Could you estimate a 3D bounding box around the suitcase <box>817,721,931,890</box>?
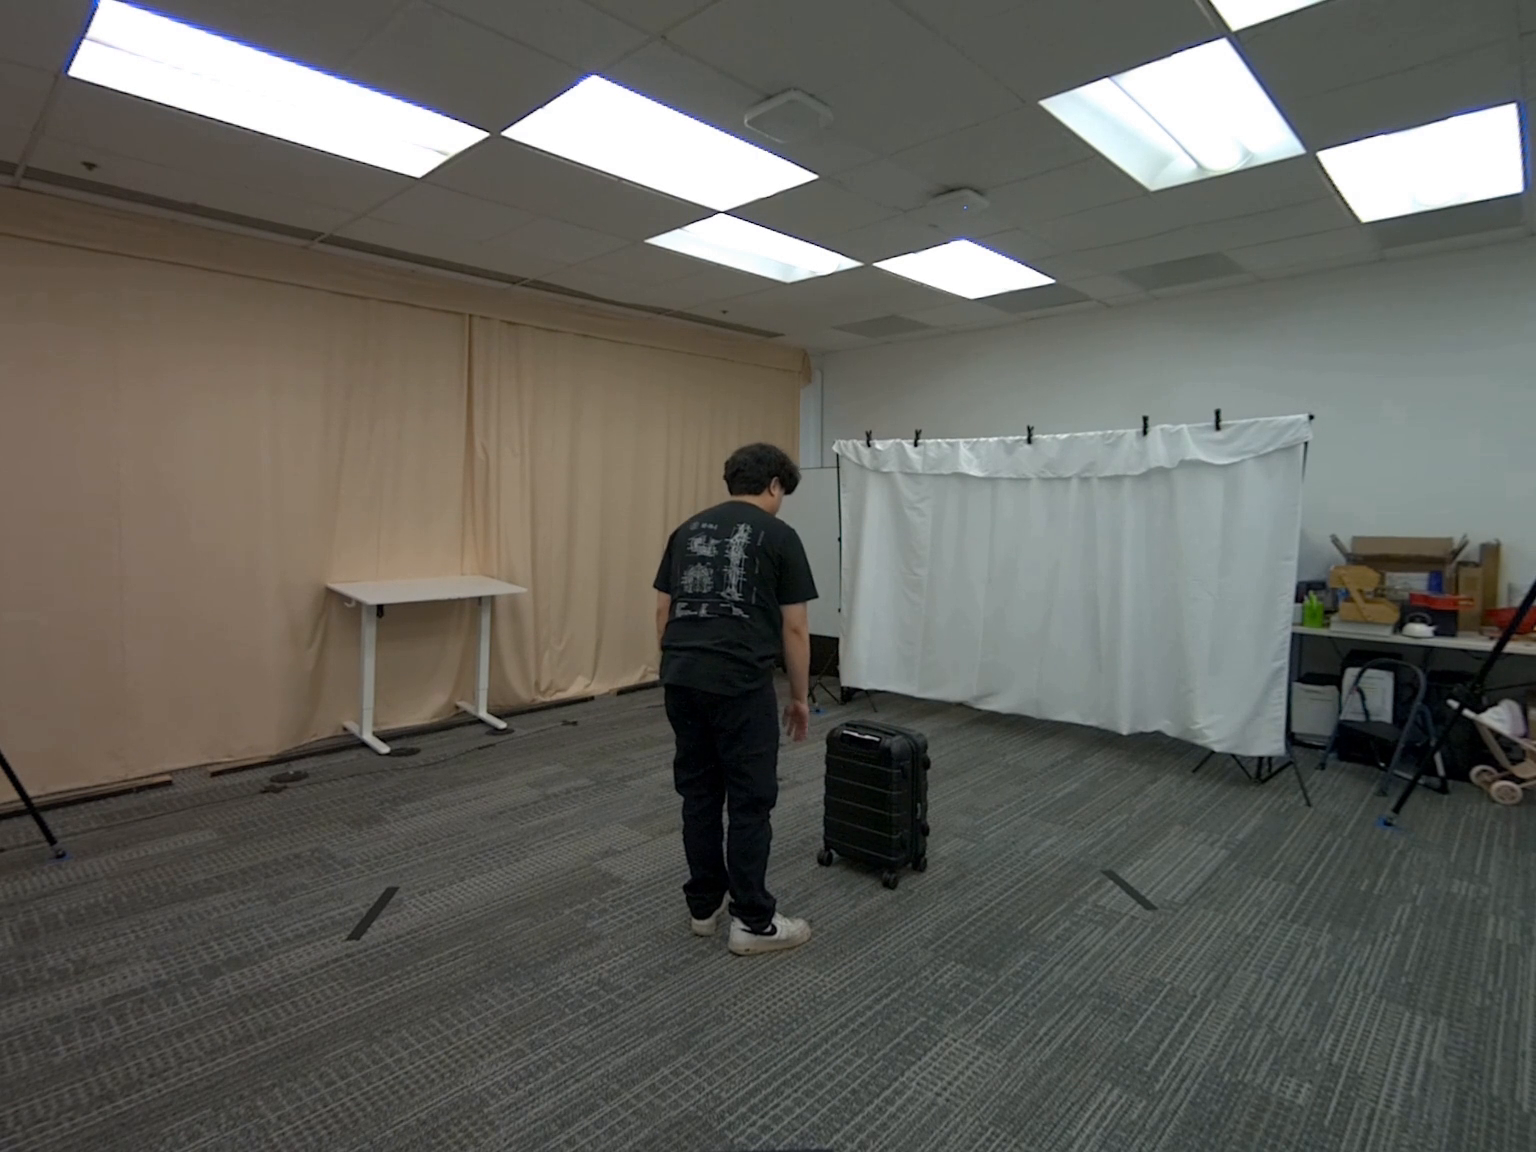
[{"bbox_3d":[0.415,0.843,3.246,0.388,0.549,0.240,2,2,42],"label":"suitcase"}]
